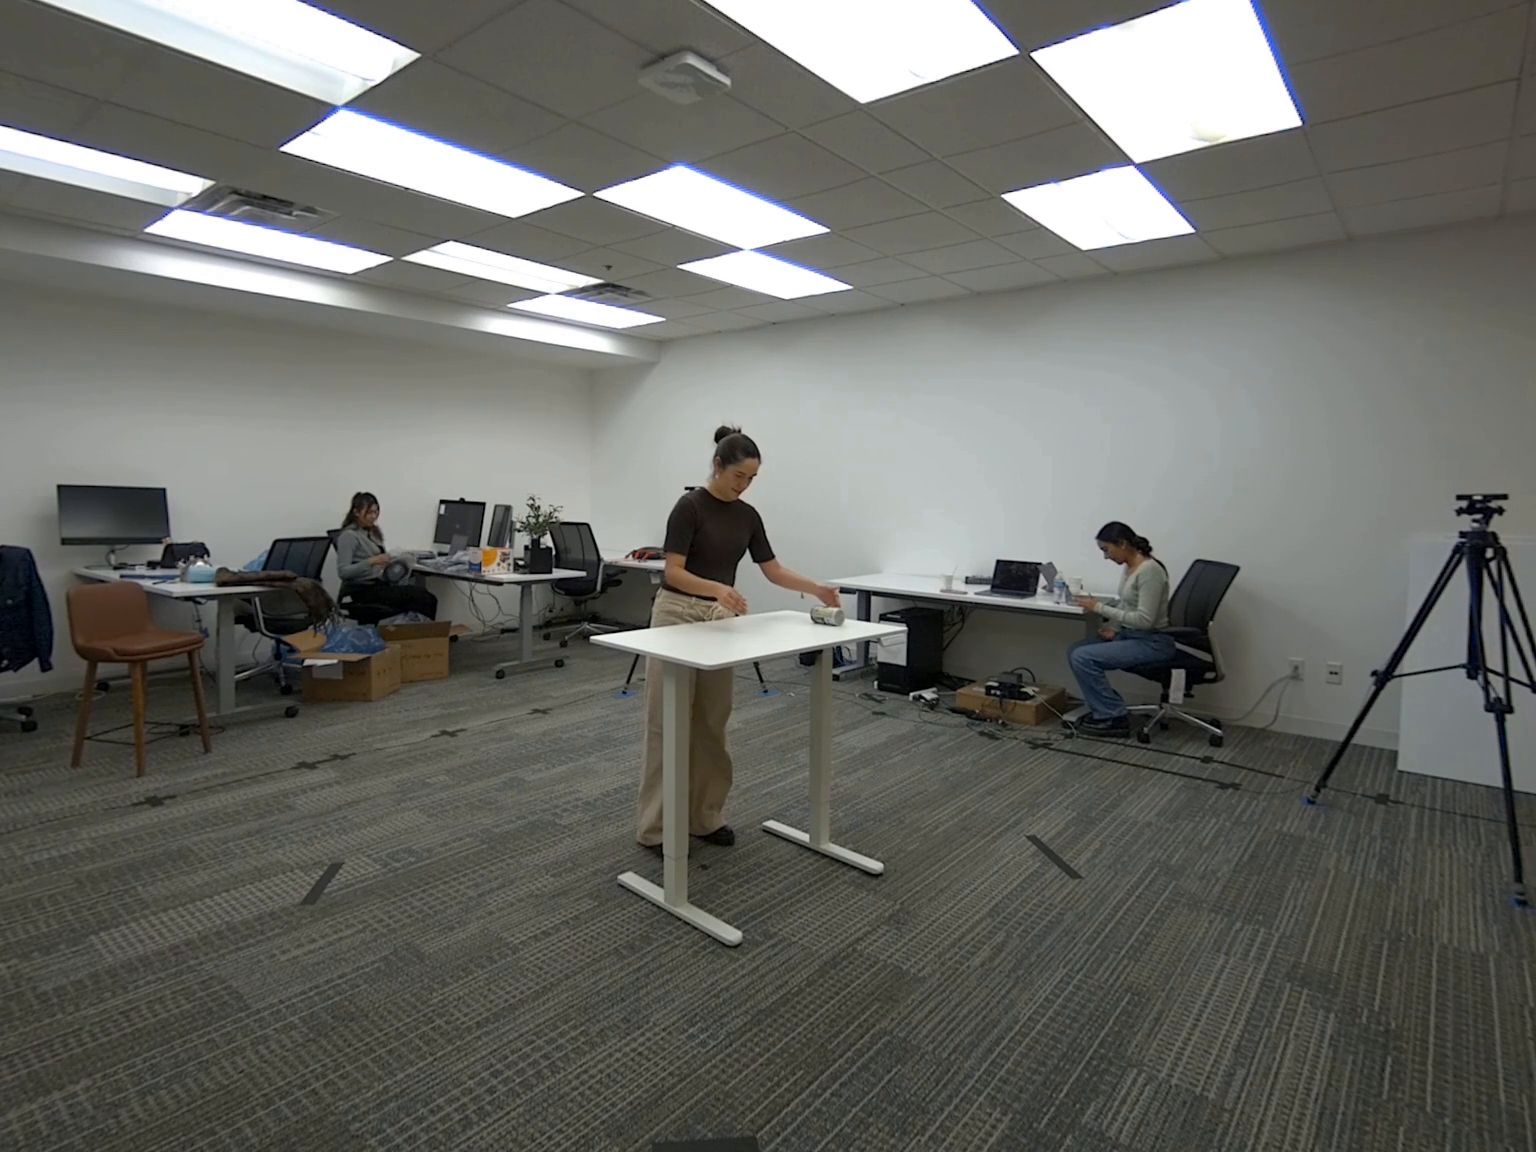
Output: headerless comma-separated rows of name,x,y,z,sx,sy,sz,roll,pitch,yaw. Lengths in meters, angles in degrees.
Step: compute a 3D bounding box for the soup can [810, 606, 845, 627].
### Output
soup can,0.217,0.147,3.194,0.065,0.067,0.126,-3,7,-40
